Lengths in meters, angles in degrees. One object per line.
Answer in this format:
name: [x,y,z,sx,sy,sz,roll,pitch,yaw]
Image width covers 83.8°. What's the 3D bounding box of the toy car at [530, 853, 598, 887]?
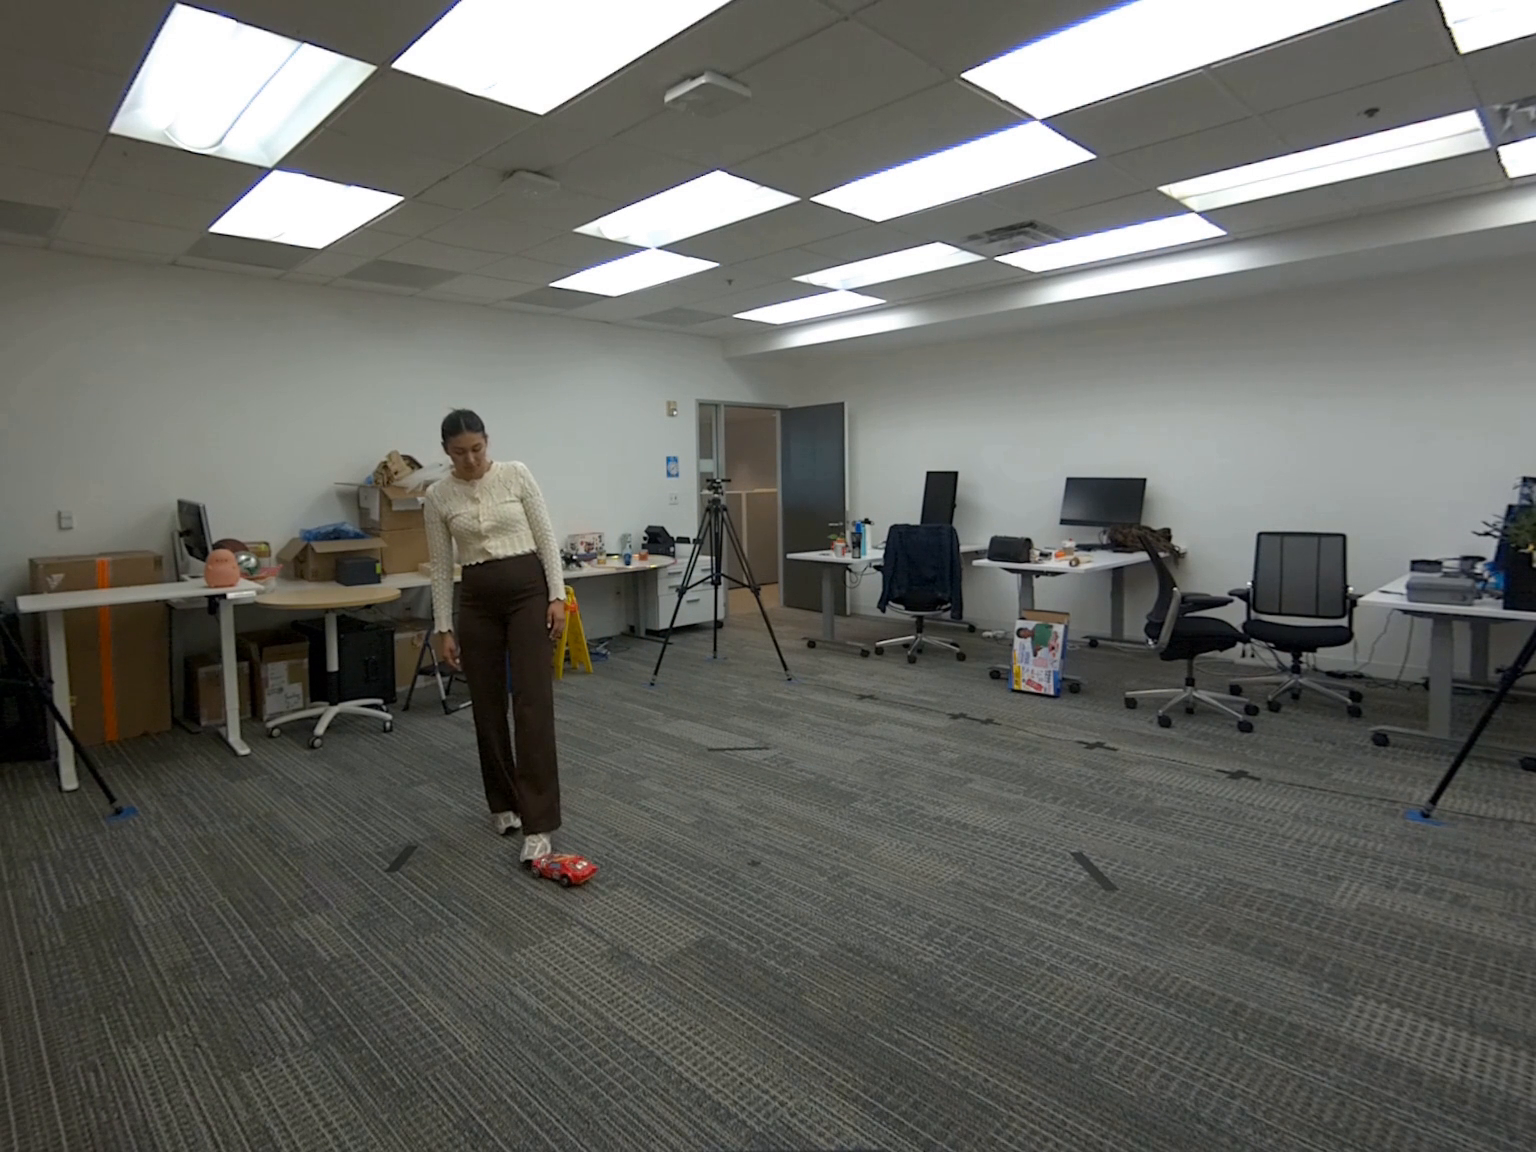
toy car: [-0.709,1.038,3.014,0.260,0.083,0.127,-11,1,33]
